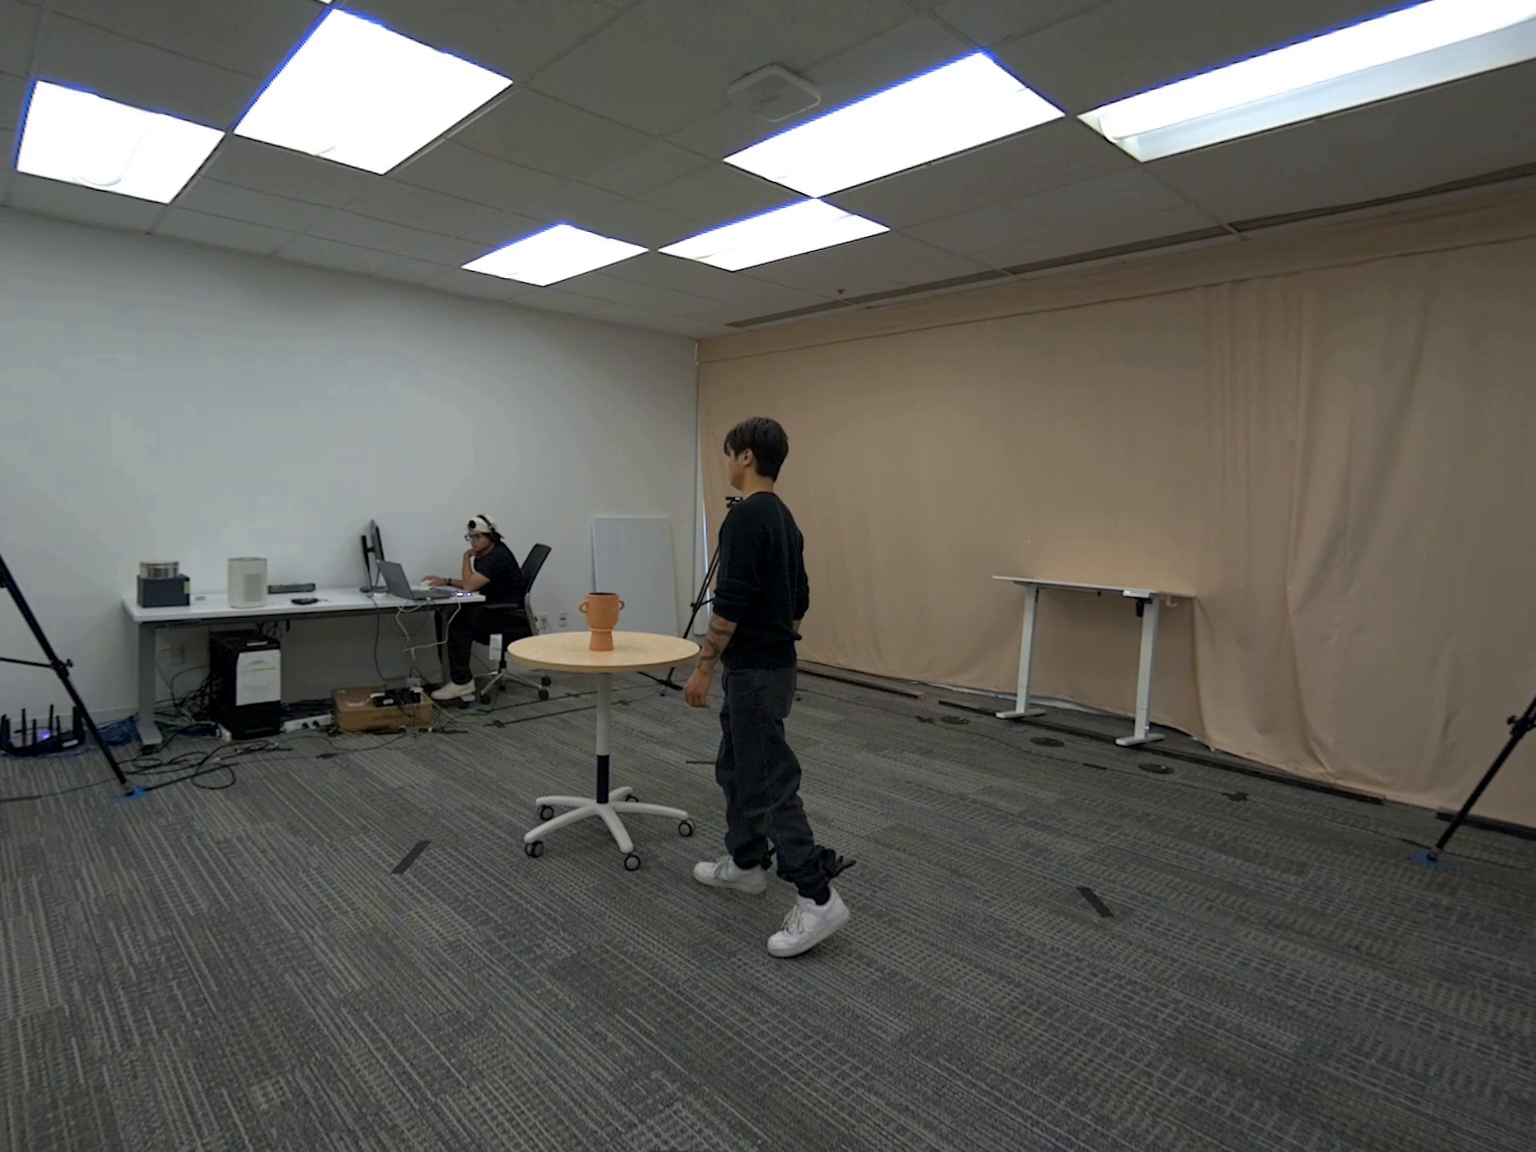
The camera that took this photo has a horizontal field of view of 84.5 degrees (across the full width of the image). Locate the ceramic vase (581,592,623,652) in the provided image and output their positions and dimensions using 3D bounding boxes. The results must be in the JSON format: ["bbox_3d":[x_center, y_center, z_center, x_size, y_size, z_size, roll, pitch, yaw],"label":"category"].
[{"bbox_3d":[-0.672,0.182,3.344,0.159,0.219,0.135,2,4,1],"label":"ceramic vase"}]
